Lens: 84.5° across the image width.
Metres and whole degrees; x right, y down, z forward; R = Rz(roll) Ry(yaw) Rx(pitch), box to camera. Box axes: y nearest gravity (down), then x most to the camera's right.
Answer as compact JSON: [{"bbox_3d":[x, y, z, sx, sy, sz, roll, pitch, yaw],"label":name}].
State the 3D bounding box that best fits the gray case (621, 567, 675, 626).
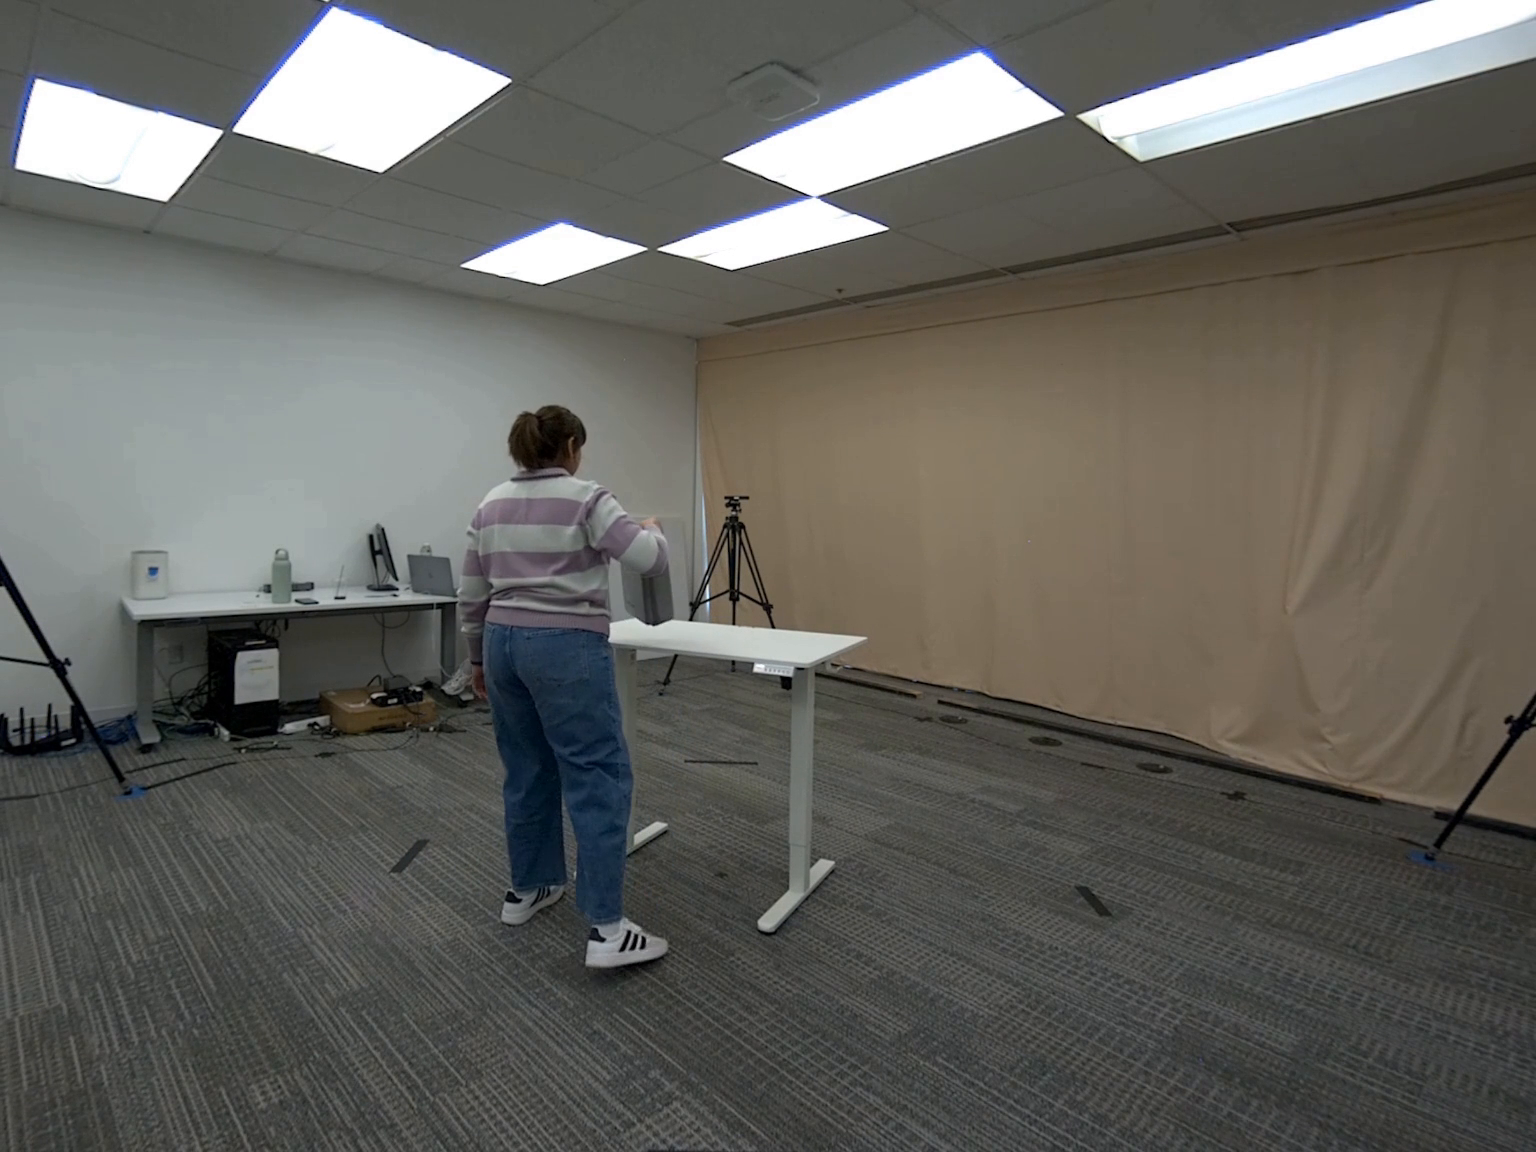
[{"bbox_3d":[-0.424,0.022,2.854,0.103,0.258,0.263,-8,12,-23],"label":"gray case"}]
